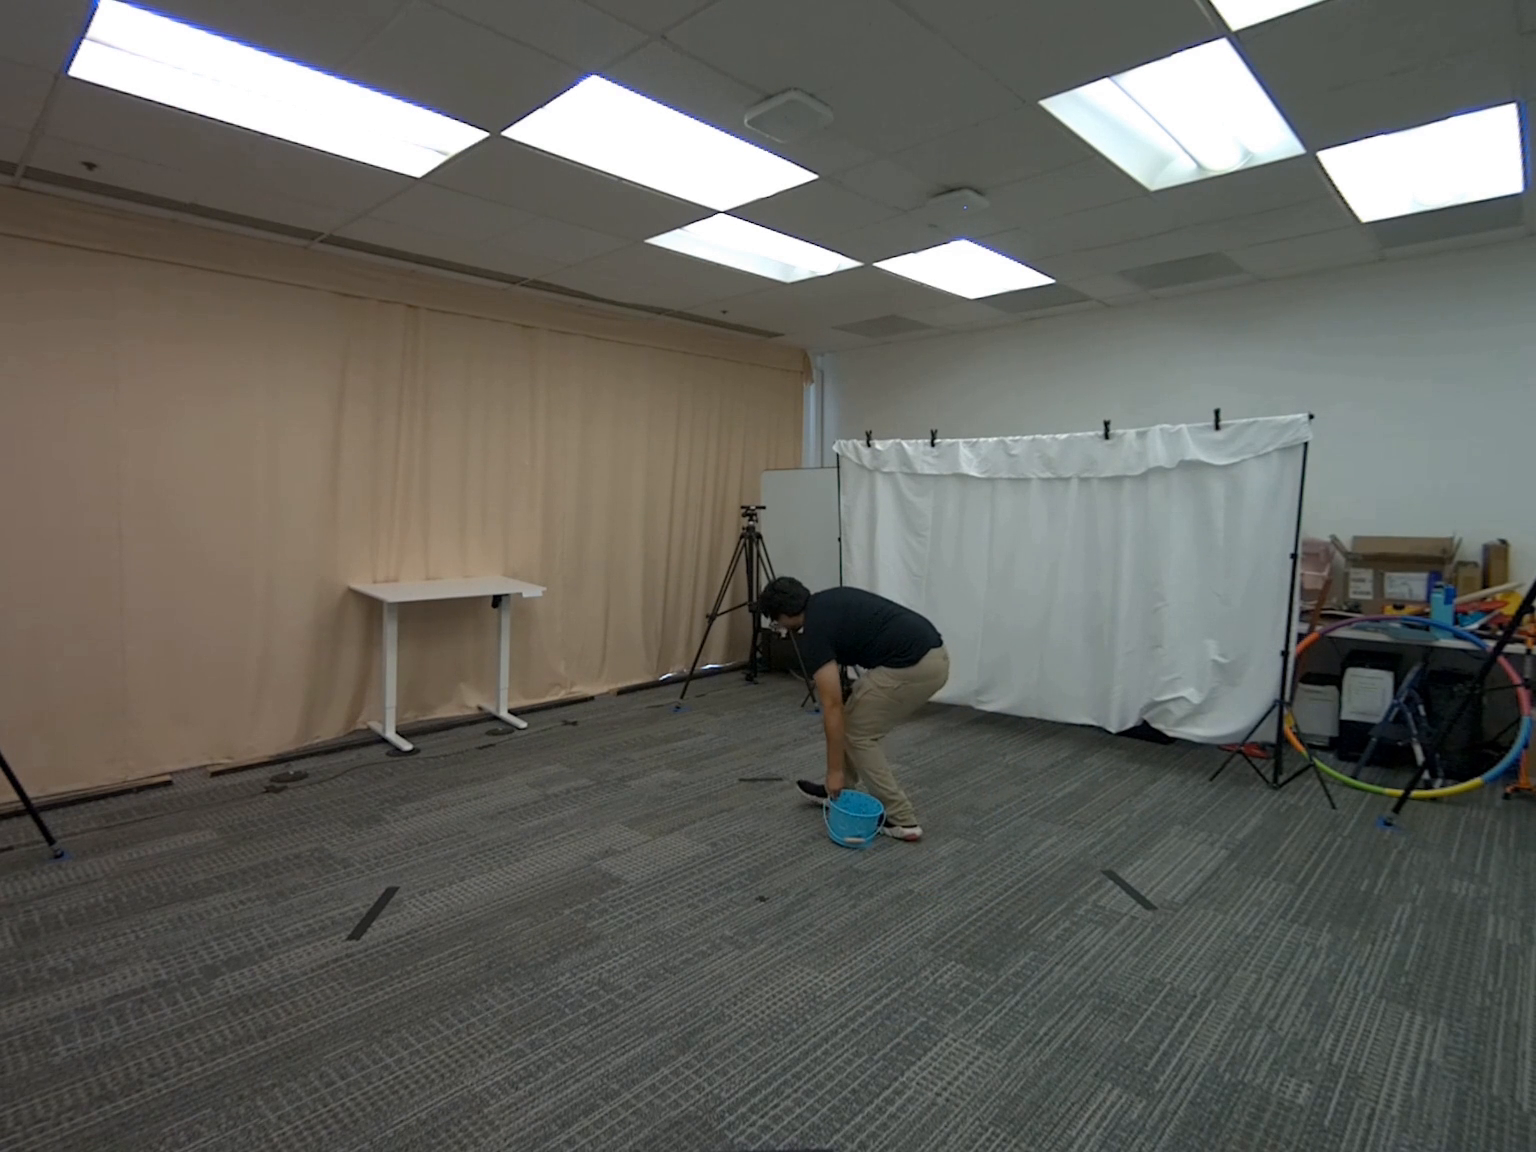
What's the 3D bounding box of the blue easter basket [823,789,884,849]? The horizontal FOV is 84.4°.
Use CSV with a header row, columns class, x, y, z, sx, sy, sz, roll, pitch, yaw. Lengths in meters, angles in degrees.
class,x,y,z,sx,sy,sz,roll,pitch,yaw
blue easter basket,0.356,1.011,3.494,0.243,0.155,0.245,7,9,-3
